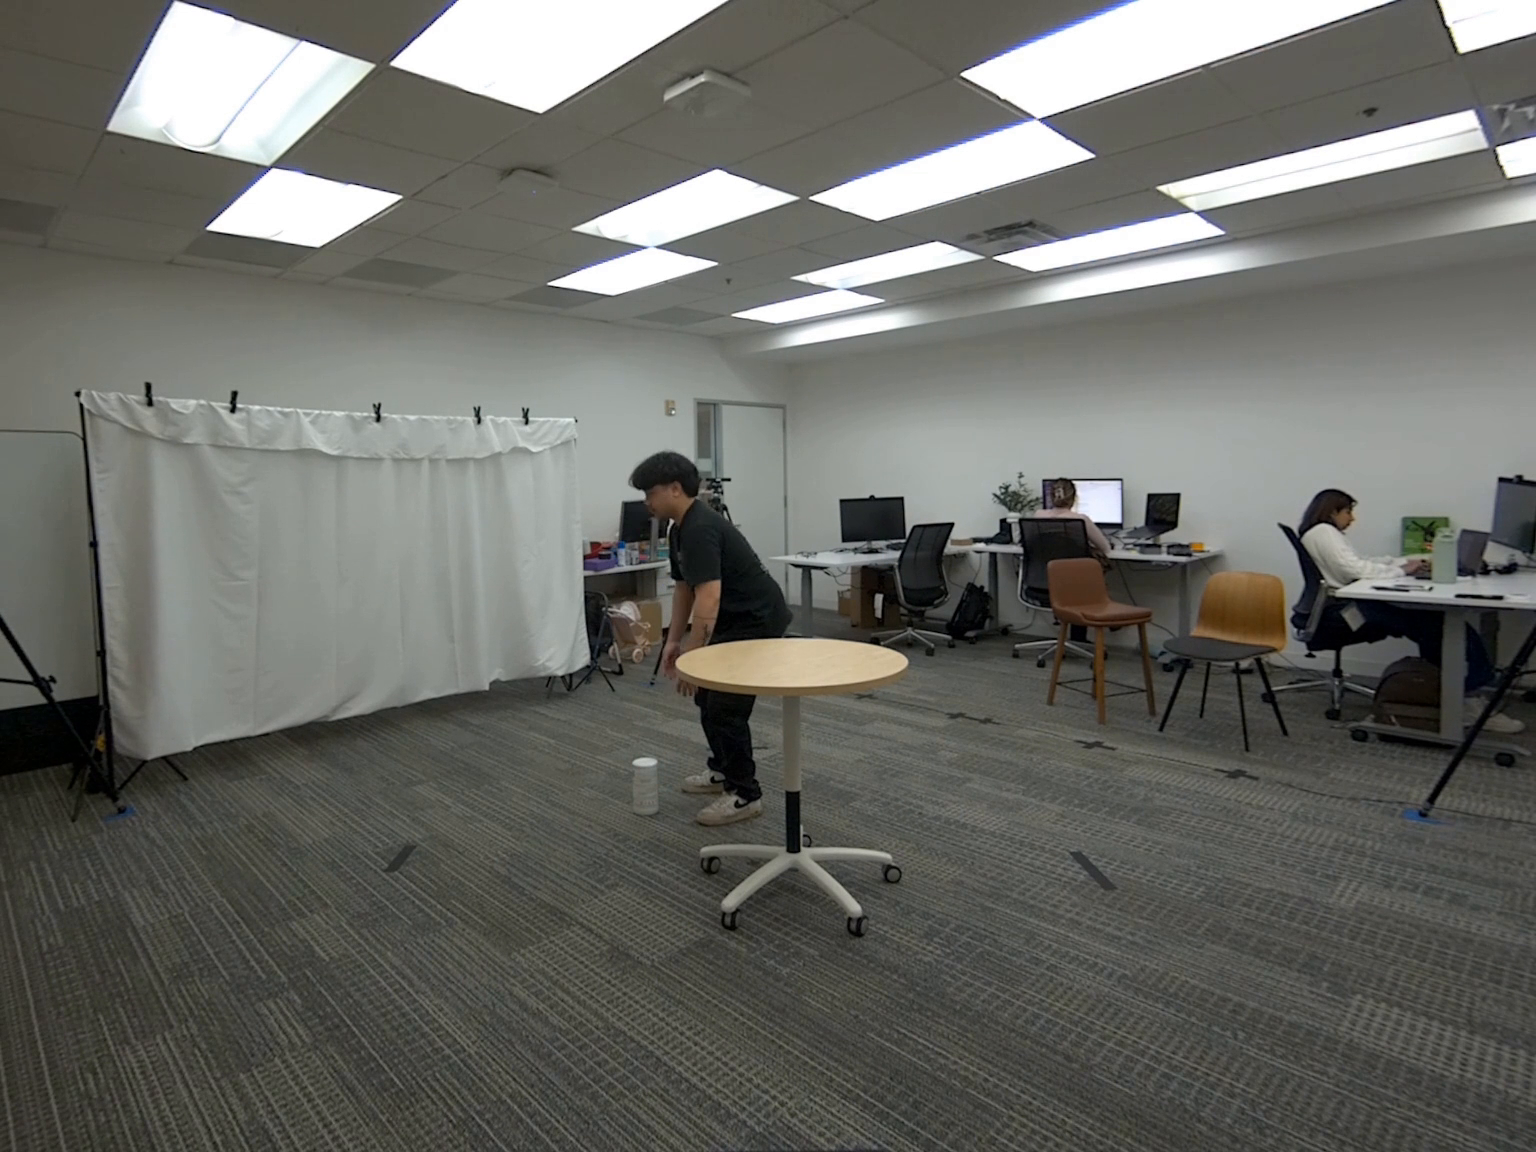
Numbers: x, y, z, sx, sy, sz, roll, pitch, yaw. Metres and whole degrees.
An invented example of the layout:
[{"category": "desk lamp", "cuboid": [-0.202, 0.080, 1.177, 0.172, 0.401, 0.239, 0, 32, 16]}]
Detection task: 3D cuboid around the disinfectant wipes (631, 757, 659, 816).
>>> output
[{"category": "disinfectant wipes", "cuboid": [-0.514, 0.874, 3.600, 0.118, 0.217, 0.118, -2, 4, -2]}]
